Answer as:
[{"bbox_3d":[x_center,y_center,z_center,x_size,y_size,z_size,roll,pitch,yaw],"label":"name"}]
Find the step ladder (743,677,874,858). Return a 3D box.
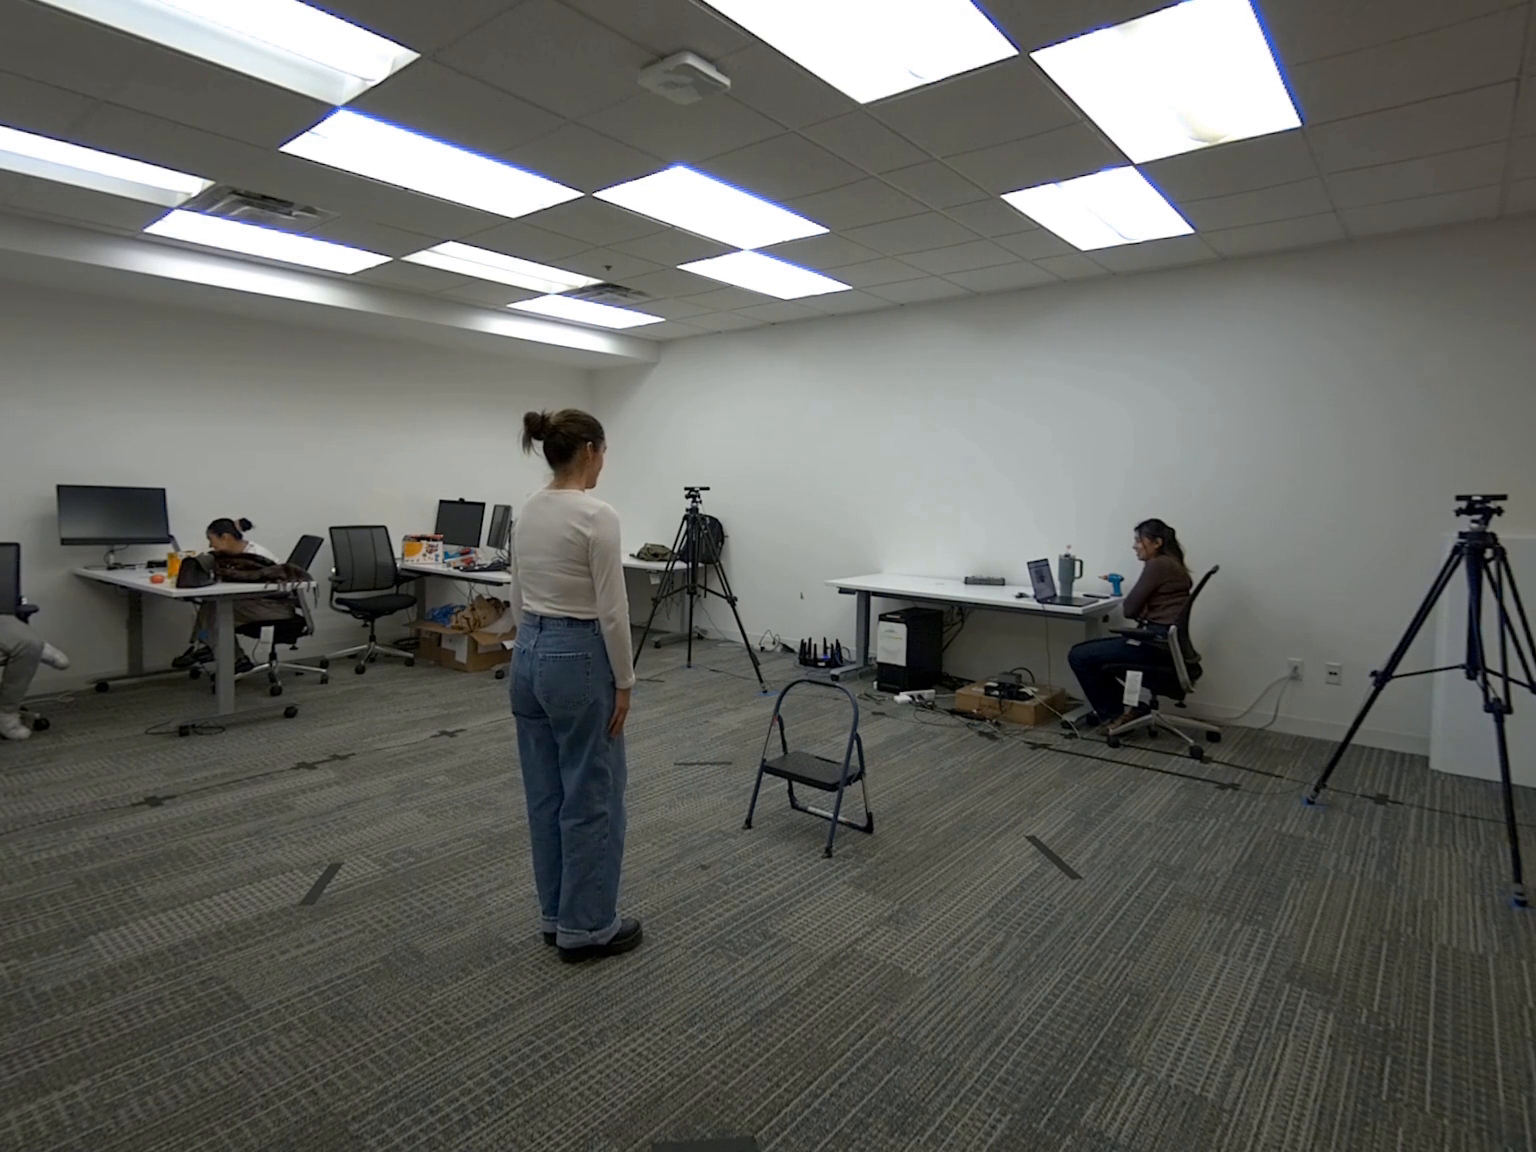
[{"bbox_3d":[0.166,0.733,3.461,0.445,0.604,0.339,4,4,39],"label":"step ladder"}]
